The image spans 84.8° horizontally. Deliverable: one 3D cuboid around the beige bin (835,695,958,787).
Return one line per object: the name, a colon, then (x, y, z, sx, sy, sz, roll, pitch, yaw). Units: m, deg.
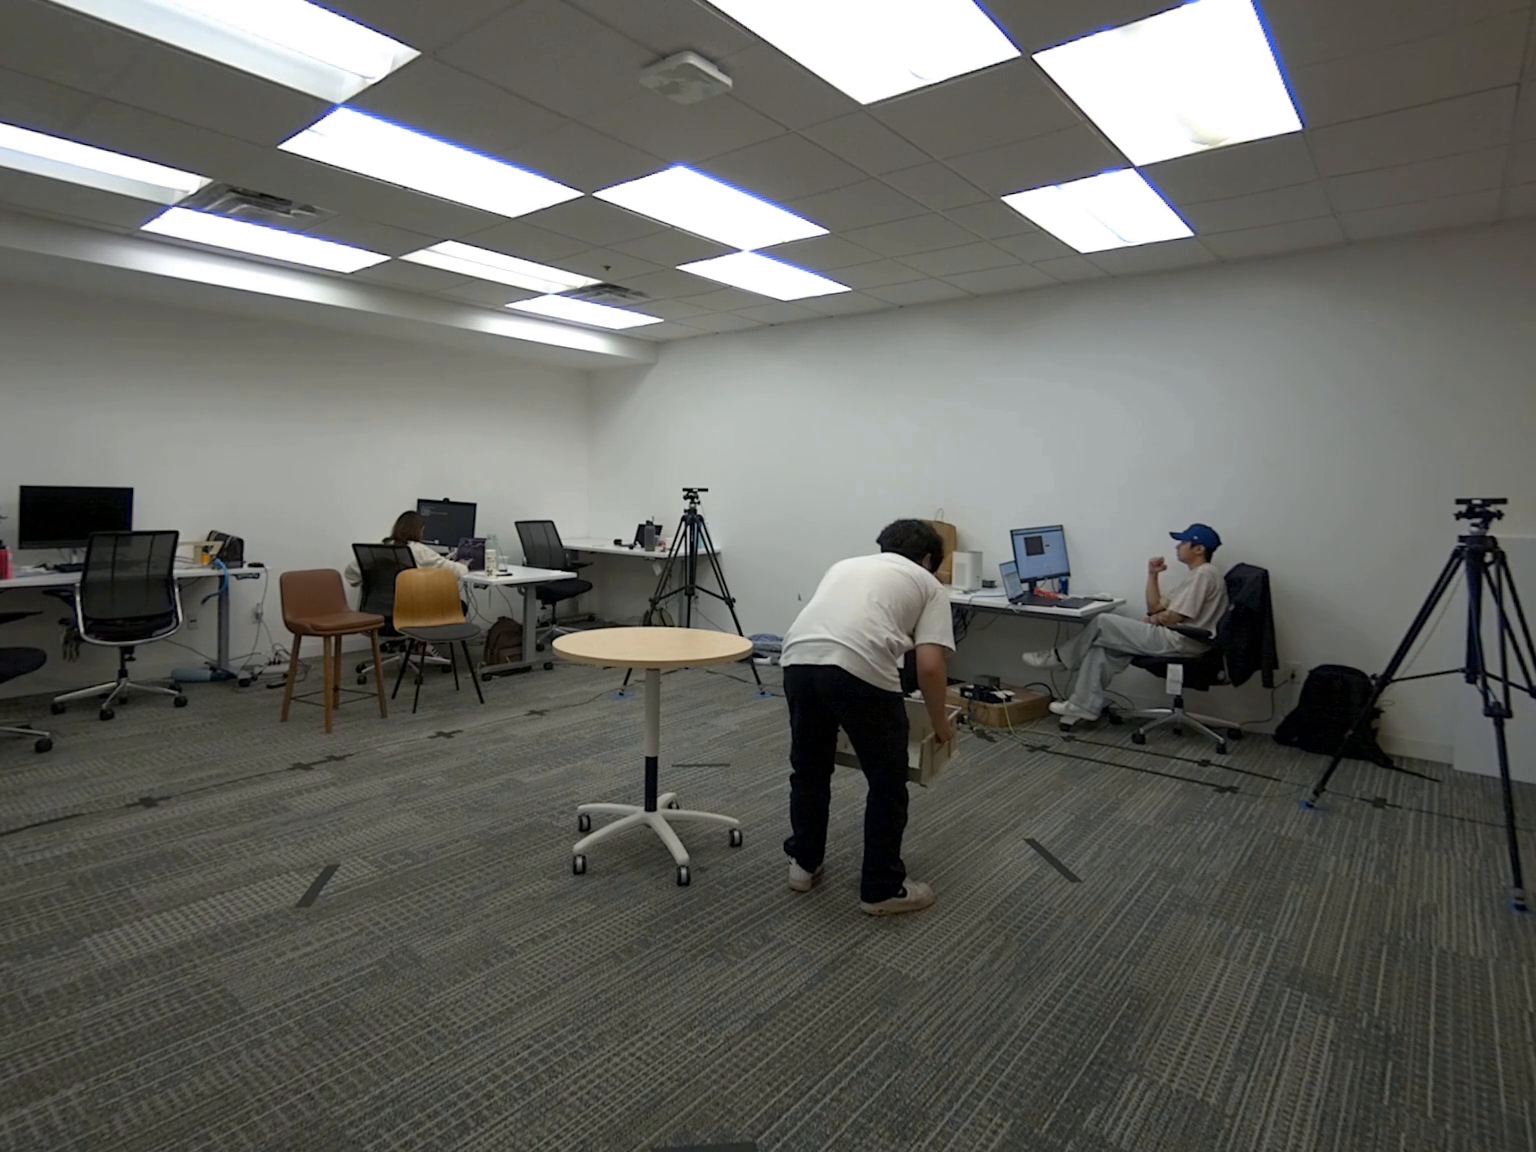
beige bin: (0.437, 0.589, 3.143, 0.435, 0.187, 0.369, 2, 12, 35)
